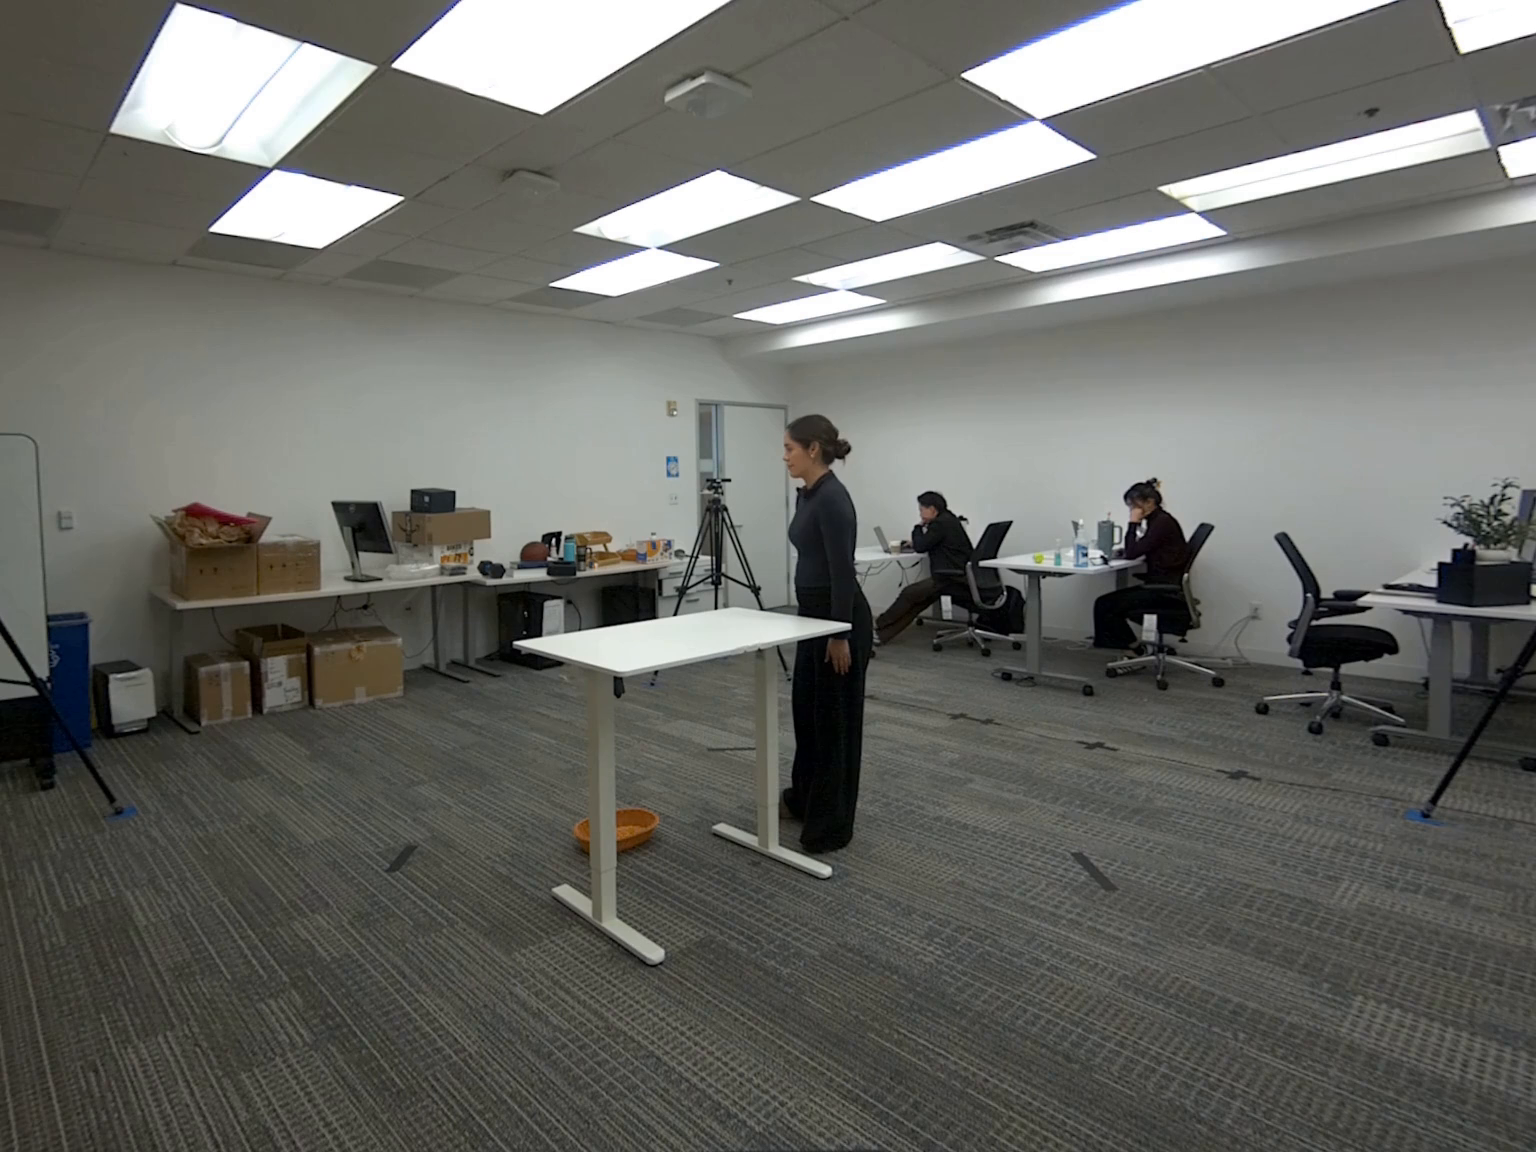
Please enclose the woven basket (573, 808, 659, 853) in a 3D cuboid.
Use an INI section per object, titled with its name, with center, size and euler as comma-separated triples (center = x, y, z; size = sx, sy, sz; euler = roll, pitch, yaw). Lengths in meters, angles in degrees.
[woven basket]
center = -0.587, 0.987, 3.310
size = 0.341, 0.073, 0.260
euler = -6, 9, -38
